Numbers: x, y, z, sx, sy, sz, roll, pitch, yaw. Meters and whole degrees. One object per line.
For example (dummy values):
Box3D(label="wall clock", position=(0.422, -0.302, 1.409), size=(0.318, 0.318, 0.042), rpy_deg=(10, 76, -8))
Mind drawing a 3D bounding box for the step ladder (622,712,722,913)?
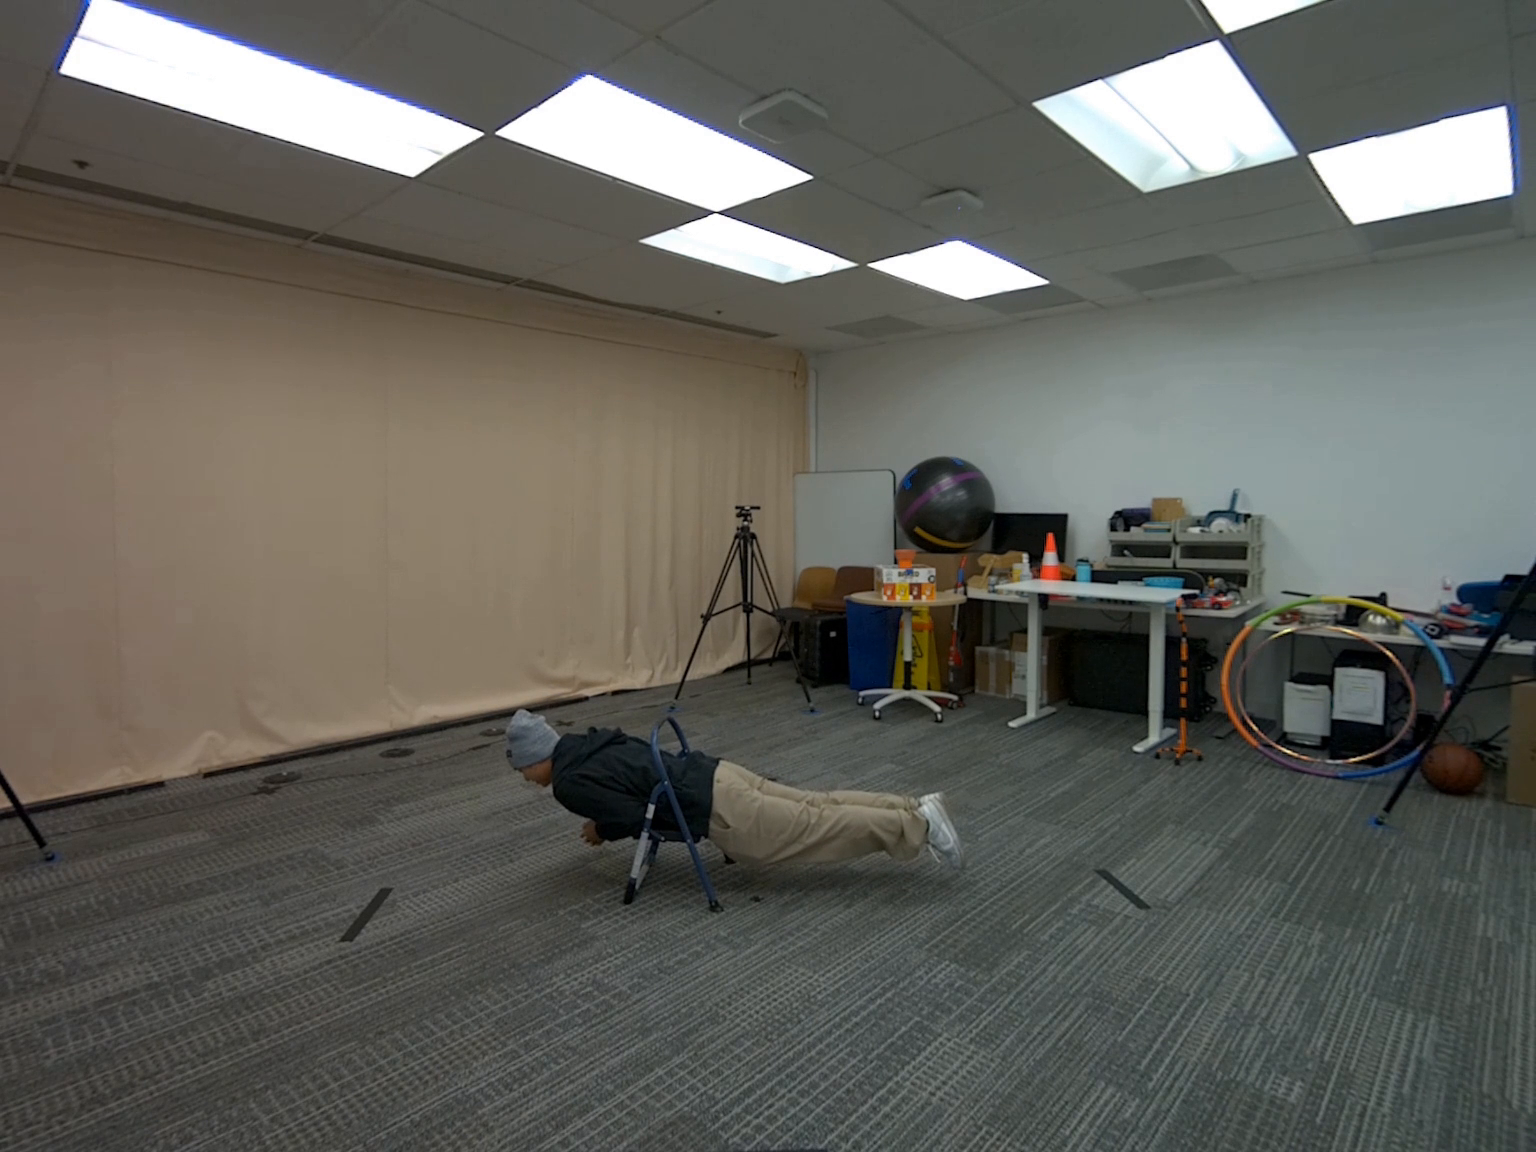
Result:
Box3D(label="step ladder", position=(-0.323, 0.840, 3.104), size=(0.351, 0.605, 0.429), rpy_deg=(-1, 3, 5))
